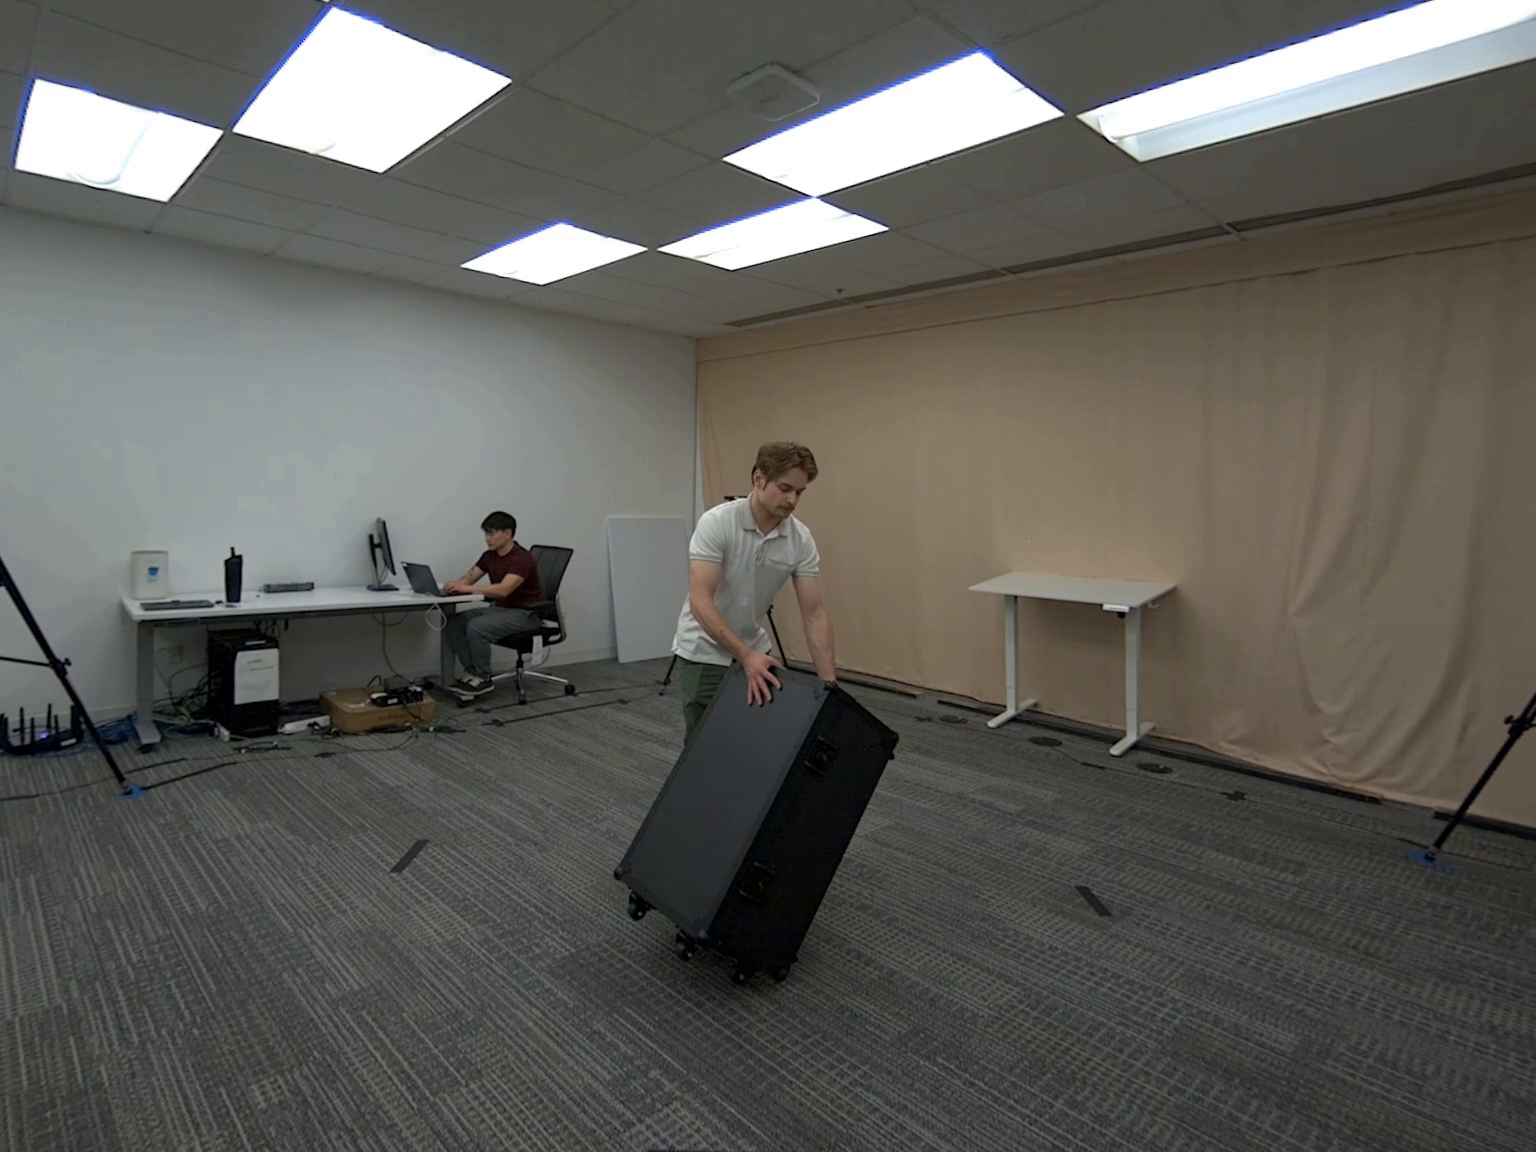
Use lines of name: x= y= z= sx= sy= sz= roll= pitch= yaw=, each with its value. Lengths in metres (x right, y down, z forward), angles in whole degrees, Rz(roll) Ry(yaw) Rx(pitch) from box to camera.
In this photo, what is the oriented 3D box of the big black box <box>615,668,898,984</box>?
big black box: x=-0.055 y=0.741 z=2.585 sx=0.374 sy=0.872 sz=0.537 roll=41 pitch=-20 yaw=-34
